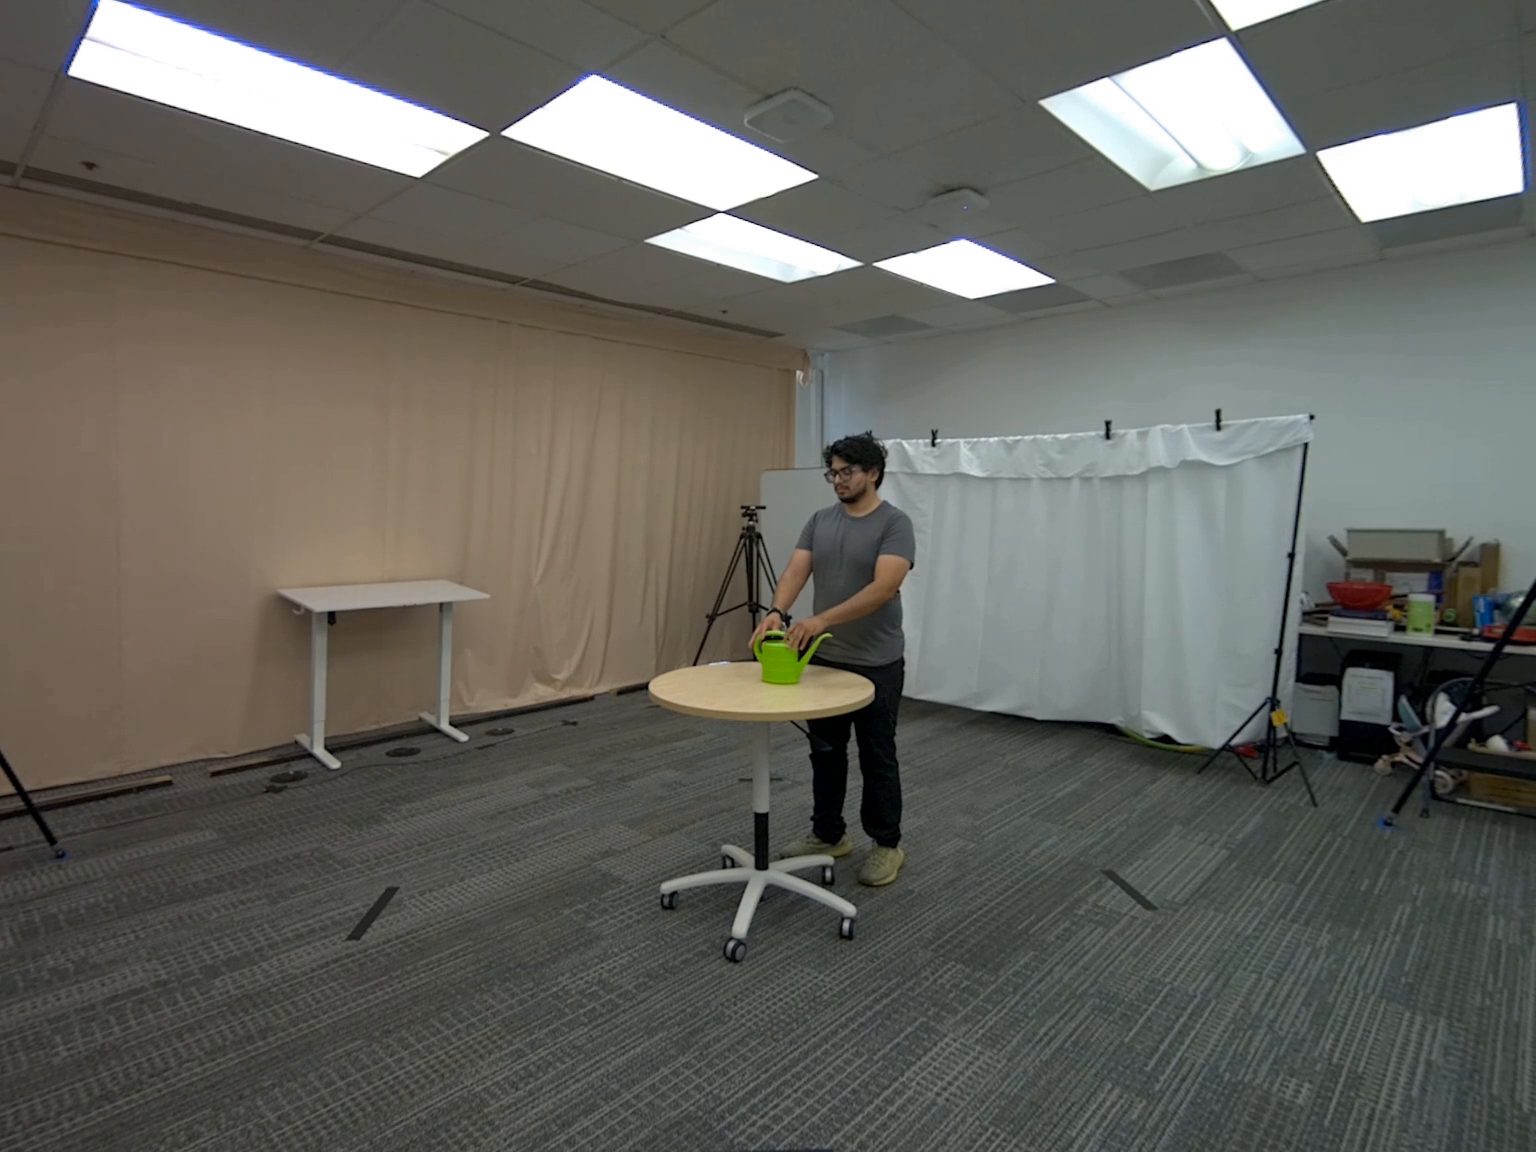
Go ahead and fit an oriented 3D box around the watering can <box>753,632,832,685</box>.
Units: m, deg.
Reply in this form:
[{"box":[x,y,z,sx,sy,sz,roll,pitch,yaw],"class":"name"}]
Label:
[{"box":[0.083,0.281,2.882,0.287,0.177,0.095,0,1,35],"class":"watering can"}]
